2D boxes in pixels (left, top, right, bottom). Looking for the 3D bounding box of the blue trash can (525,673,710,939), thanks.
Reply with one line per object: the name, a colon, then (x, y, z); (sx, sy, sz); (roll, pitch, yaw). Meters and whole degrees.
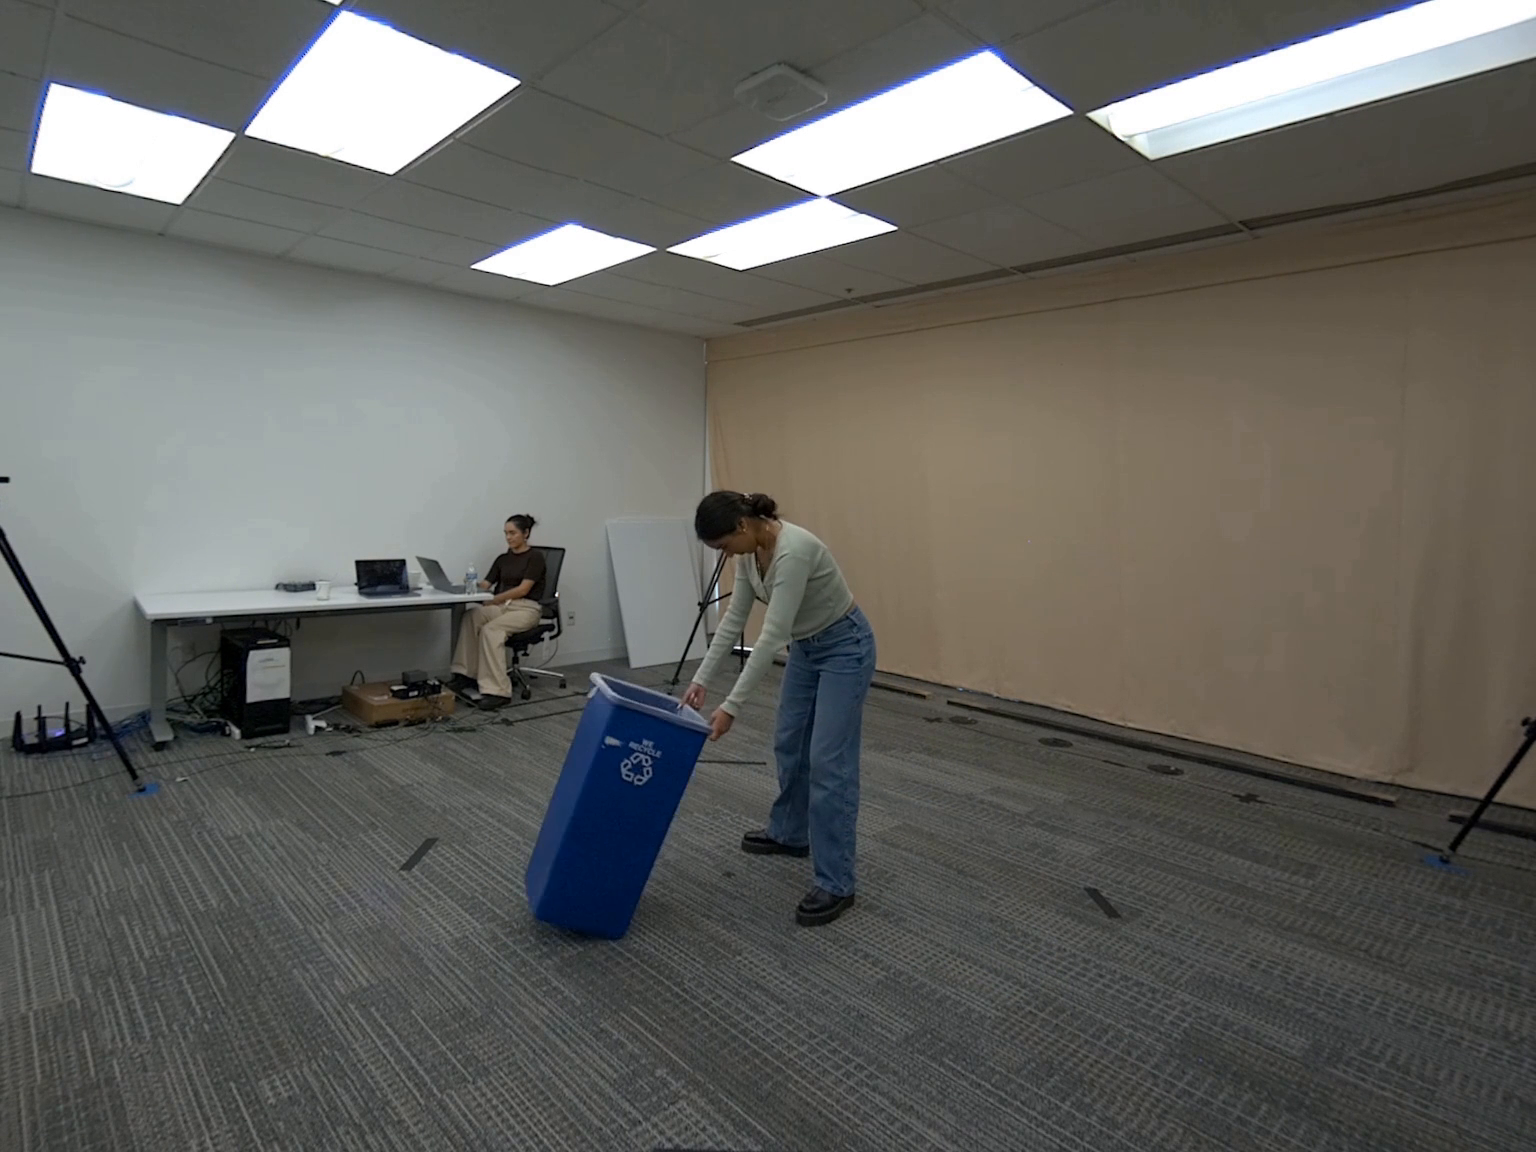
blue trash can: (-0.491, 0.741, 2.758); (0.366, 0.714, 0.385); (22, -4, -22)
